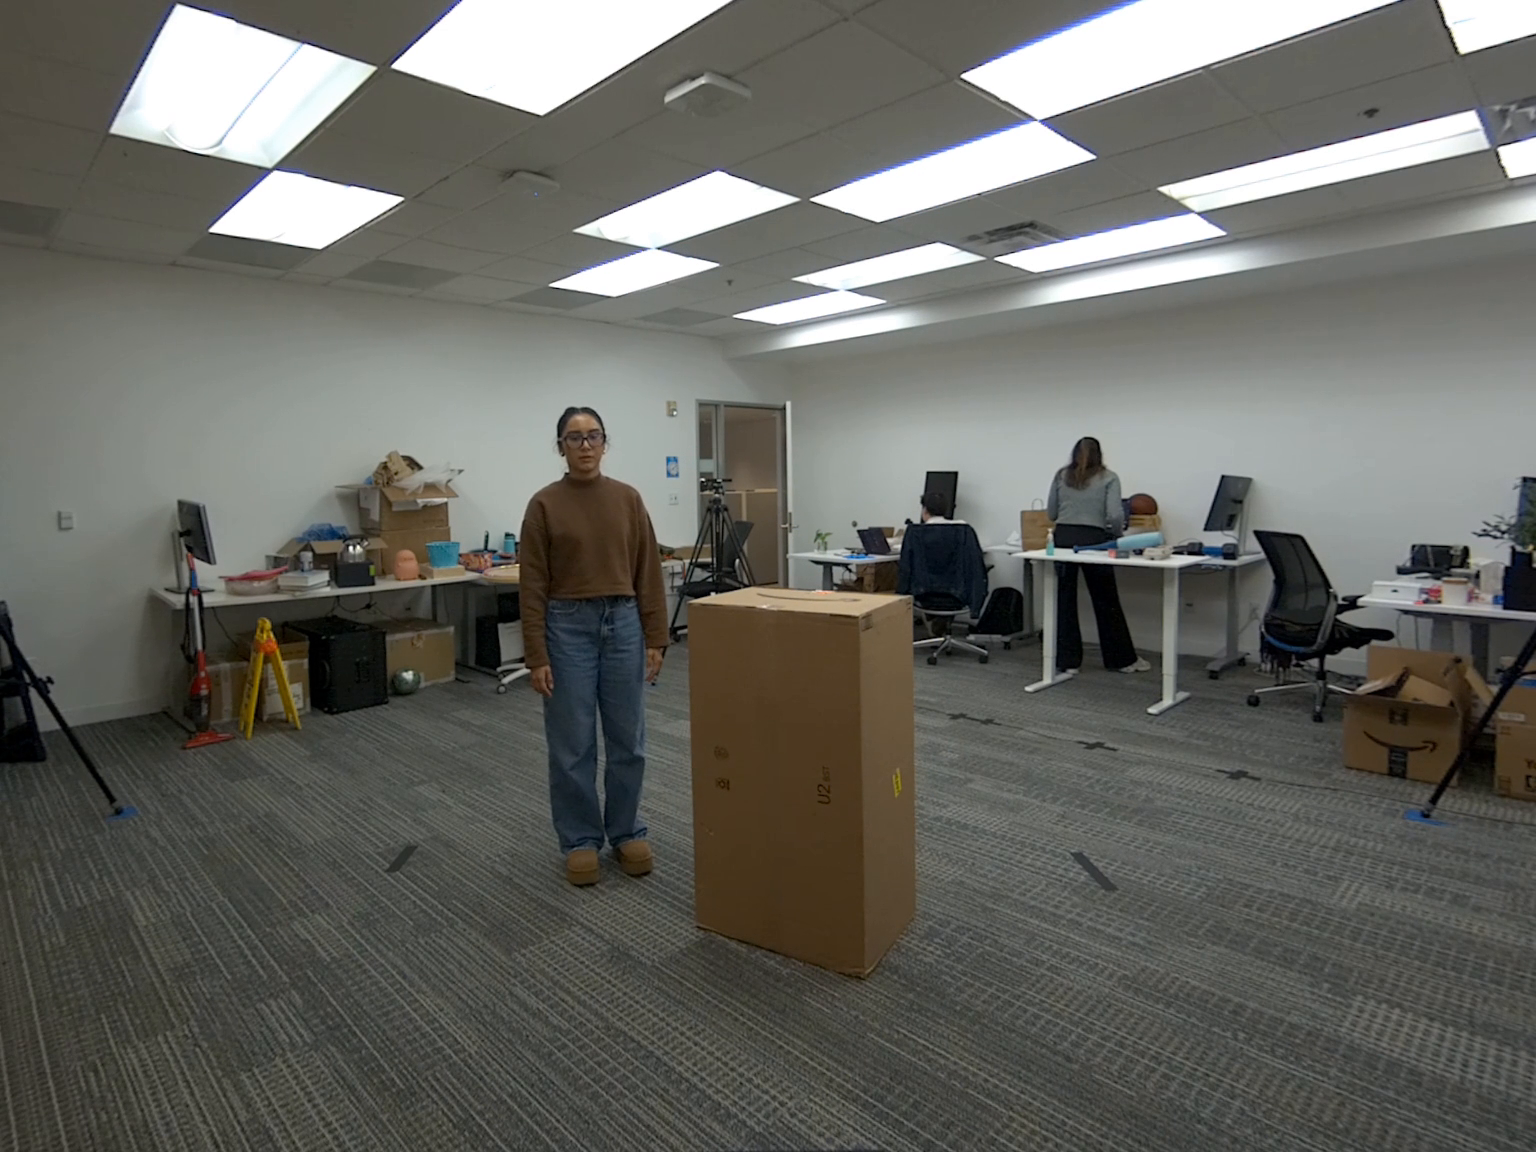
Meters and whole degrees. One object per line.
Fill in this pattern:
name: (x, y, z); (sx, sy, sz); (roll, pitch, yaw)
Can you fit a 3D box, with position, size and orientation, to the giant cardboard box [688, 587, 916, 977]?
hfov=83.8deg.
giant cardboard box: (0.114, 0.582, 2.665); (0.593, 1.022, 0.416); (2, 5, 32)
